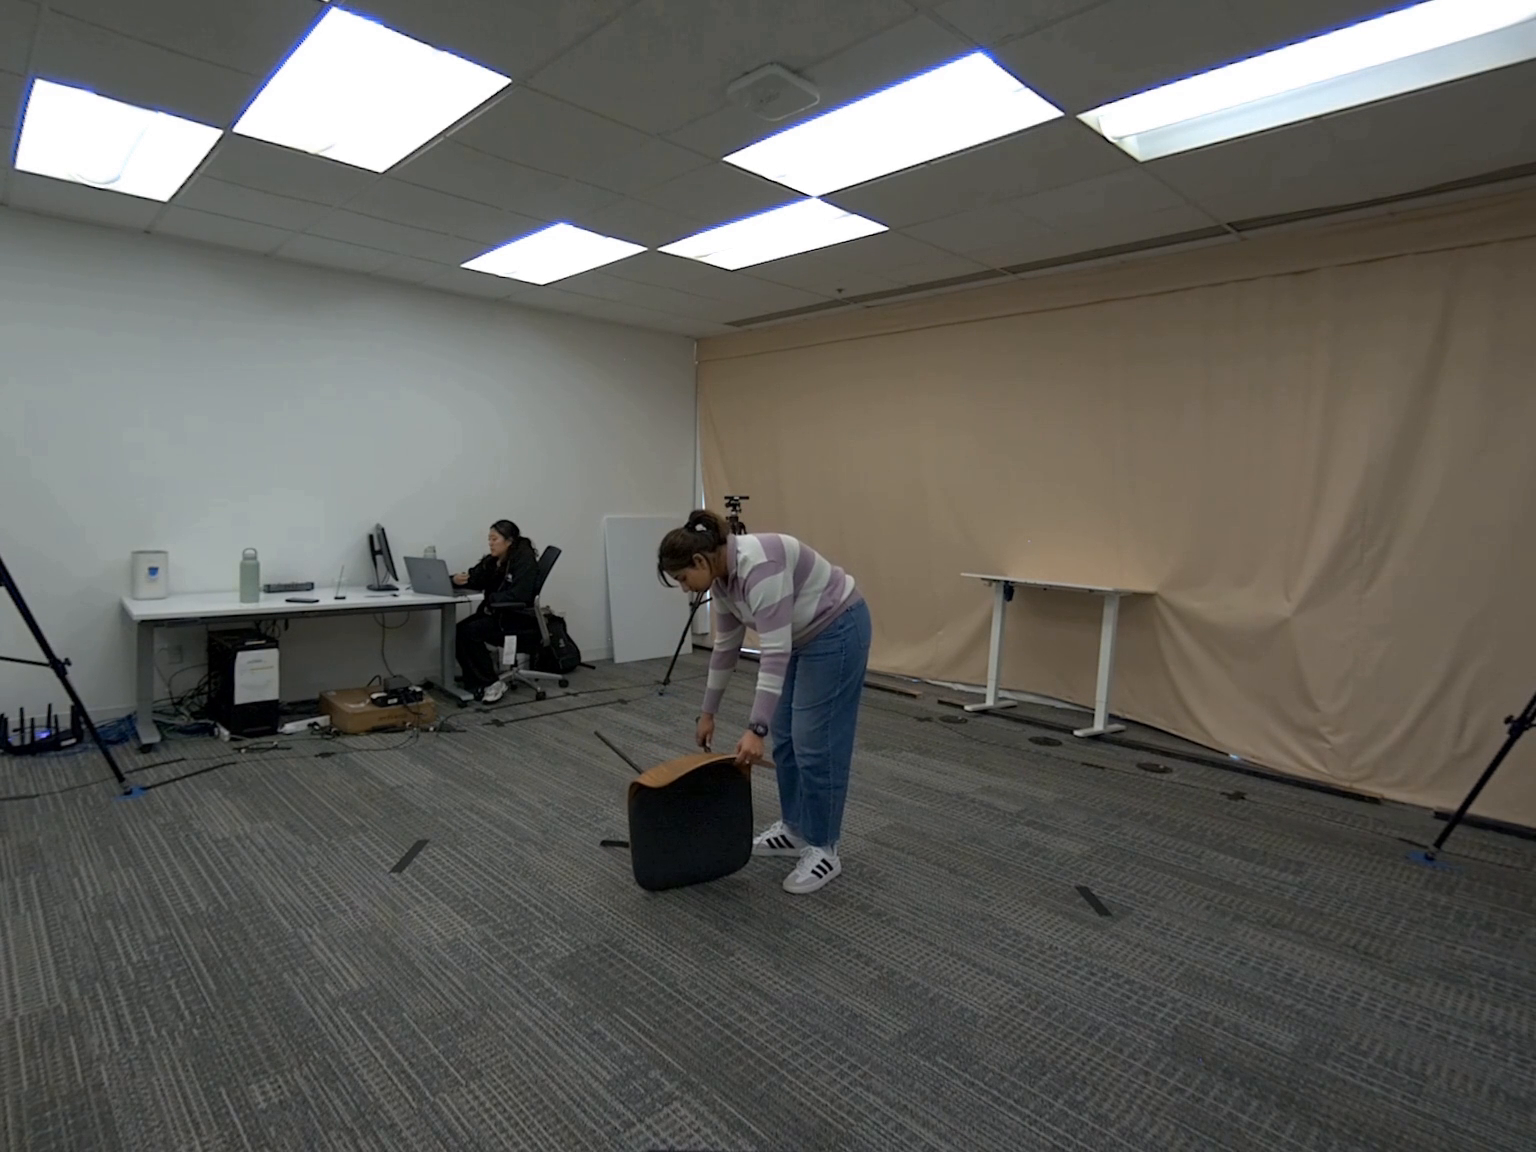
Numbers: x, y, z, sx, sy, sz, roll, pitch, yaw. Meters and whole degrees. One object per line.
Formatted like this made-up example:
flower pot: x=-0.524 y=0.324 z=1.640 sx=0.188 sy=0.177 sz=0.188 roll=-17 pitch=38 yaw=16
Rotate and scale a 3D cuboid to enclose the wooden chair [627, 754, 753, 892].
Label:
wooden chair: x=-0.295 y=0.842 z=3.033 sx=0.470 sy=0.524 sz=0.891 roll=-3 pitch=-1 yaw=-26
